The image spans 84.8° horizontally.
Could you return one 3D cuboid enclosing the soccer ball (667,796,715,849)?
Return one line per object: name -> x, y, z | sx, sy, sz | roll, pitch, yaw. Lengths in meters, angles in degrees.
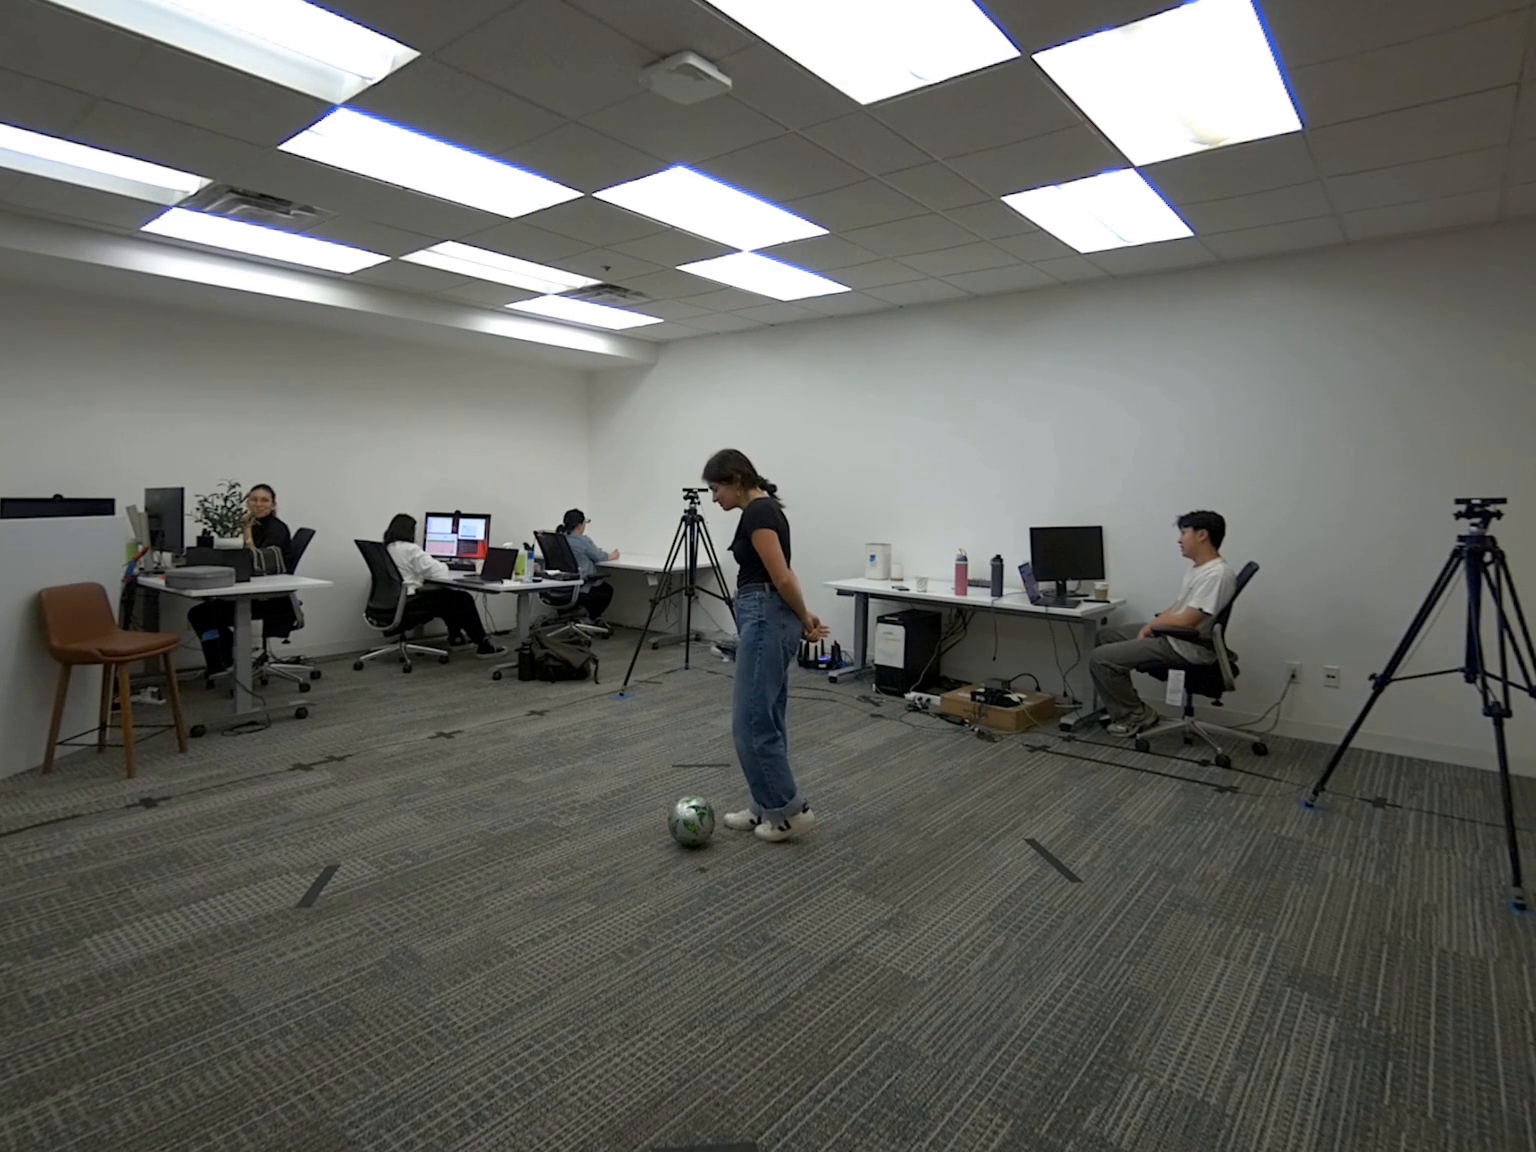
soccer ball -> -0.301, 0.949, 3.327 | 0.187, 0.187, 0.188 | 1, 4, -2
